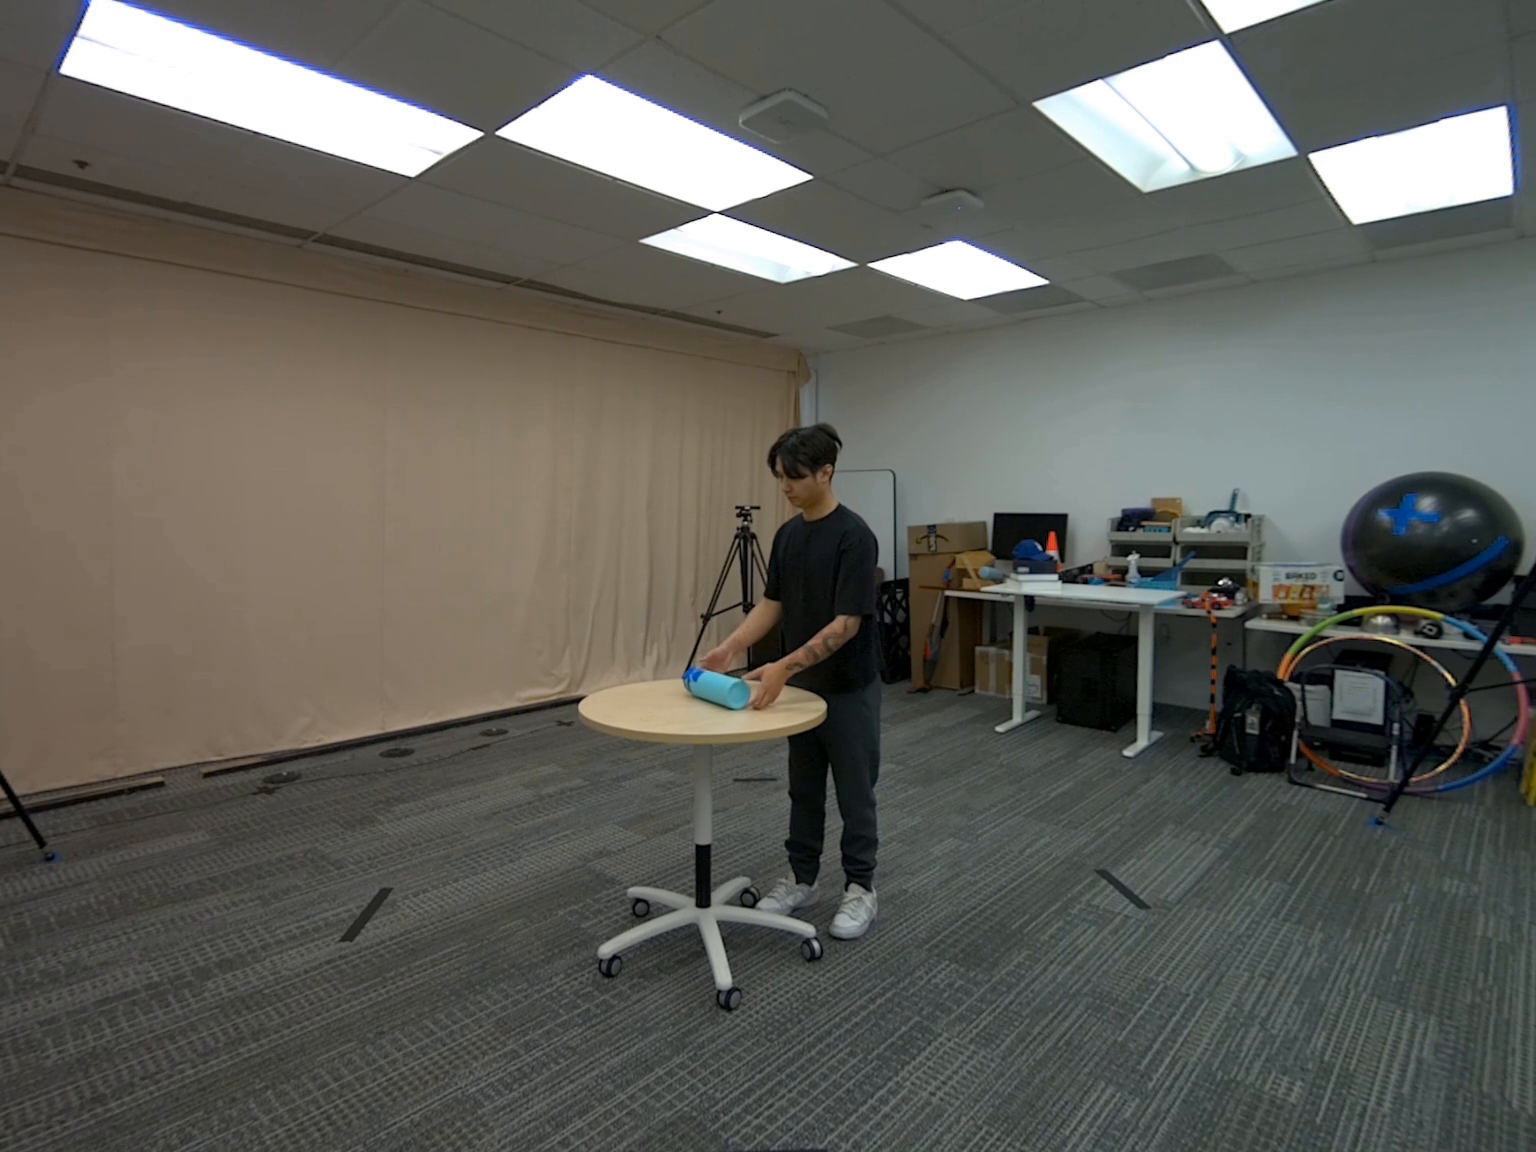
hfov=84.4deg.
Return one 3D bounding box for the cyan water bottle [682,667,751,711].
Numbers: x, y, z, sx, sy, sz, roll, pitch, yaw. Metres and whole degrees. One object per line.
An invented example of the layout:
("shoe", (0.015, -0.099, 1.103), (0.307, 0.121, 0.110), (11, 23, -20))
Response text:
("cyan water bottle", (-0.169, 0.348, 2.629), (0.090, 0.092, 0.292), (-2, 5, -34))
